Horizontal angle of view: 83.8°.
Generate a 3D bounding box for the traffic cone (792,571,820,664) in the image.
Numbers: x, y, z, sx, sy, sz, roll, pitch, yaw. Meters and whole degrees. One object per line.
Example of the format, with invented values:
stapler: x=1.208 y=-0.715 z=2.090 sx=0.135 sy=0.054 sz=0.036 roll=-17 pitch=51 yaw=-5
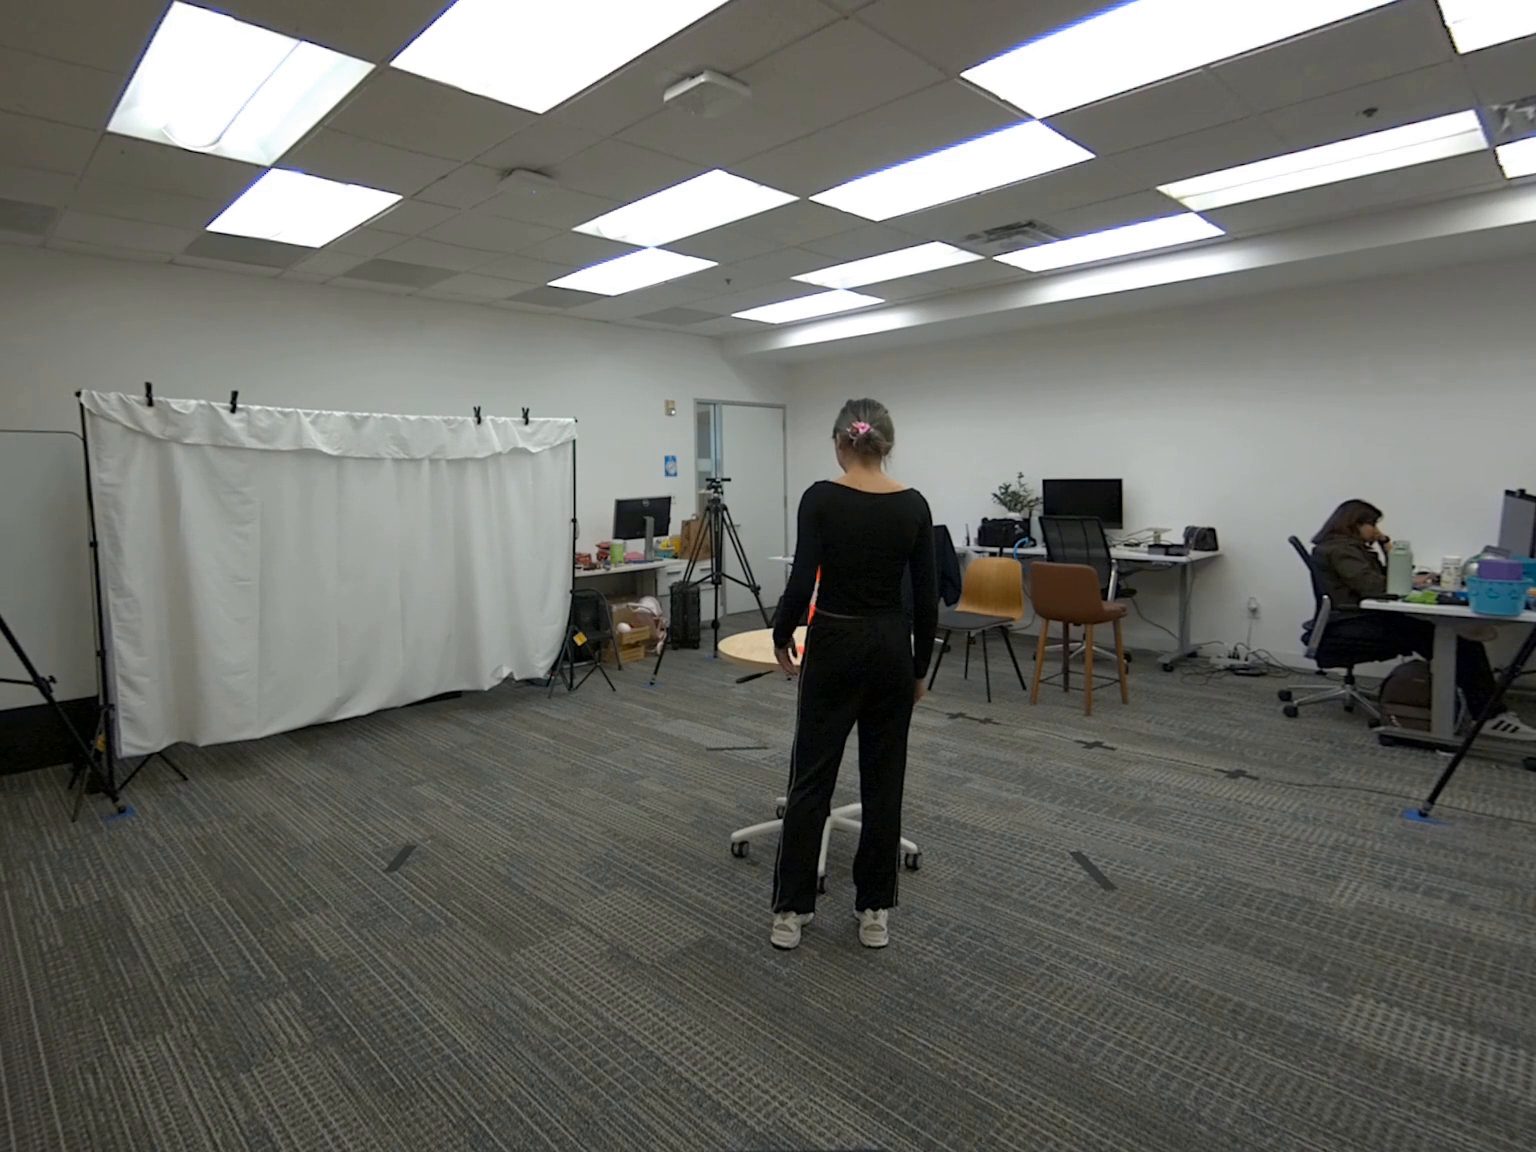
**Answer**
traffic cone: x=0.217 y=0.078 z=2.989 sx=0.203 sy=0.382 sz=0.206 roll=-1 pitch=4 yaw=-10
